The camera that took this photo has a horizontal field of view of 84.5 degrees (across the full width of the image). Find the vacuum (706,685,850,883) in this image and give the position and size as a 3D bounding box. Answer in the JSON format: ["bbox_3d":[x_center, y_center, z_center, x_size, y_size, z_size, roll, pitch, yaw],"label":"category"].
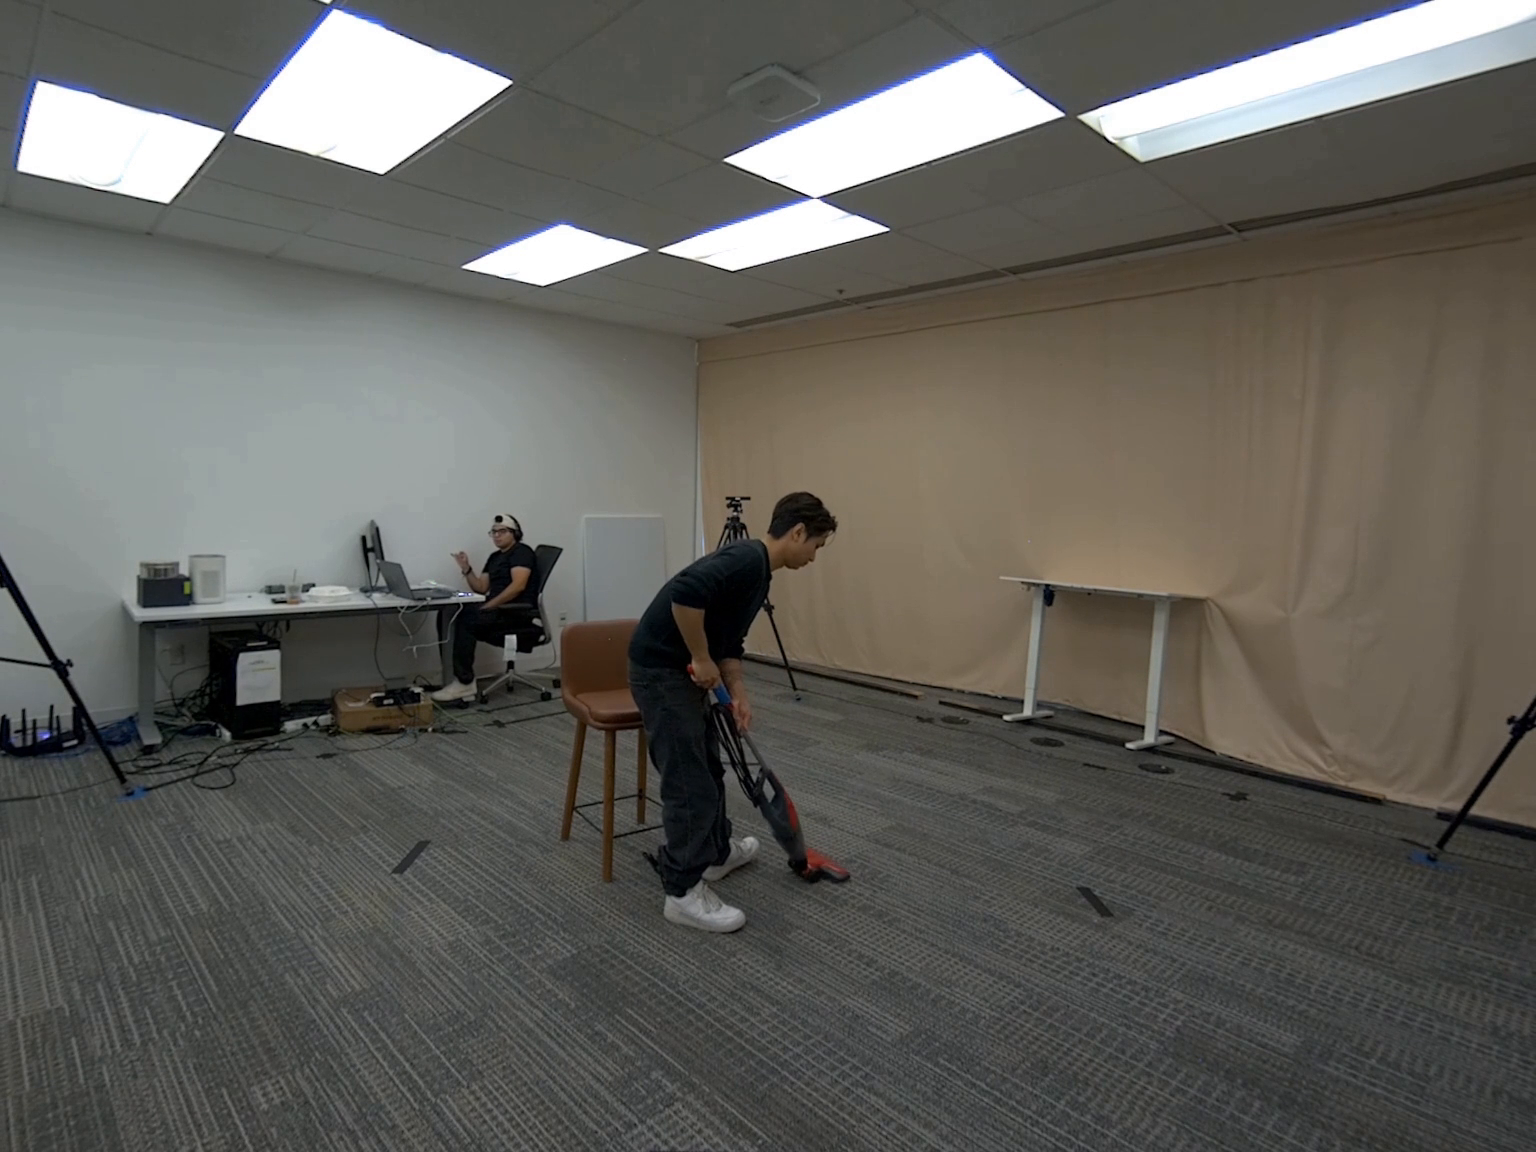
[{"bbox_3d":[-0.031,0.702,2.904,0.144,1.022,0.260,-43,33,-25],"label":"vacuum"}]
